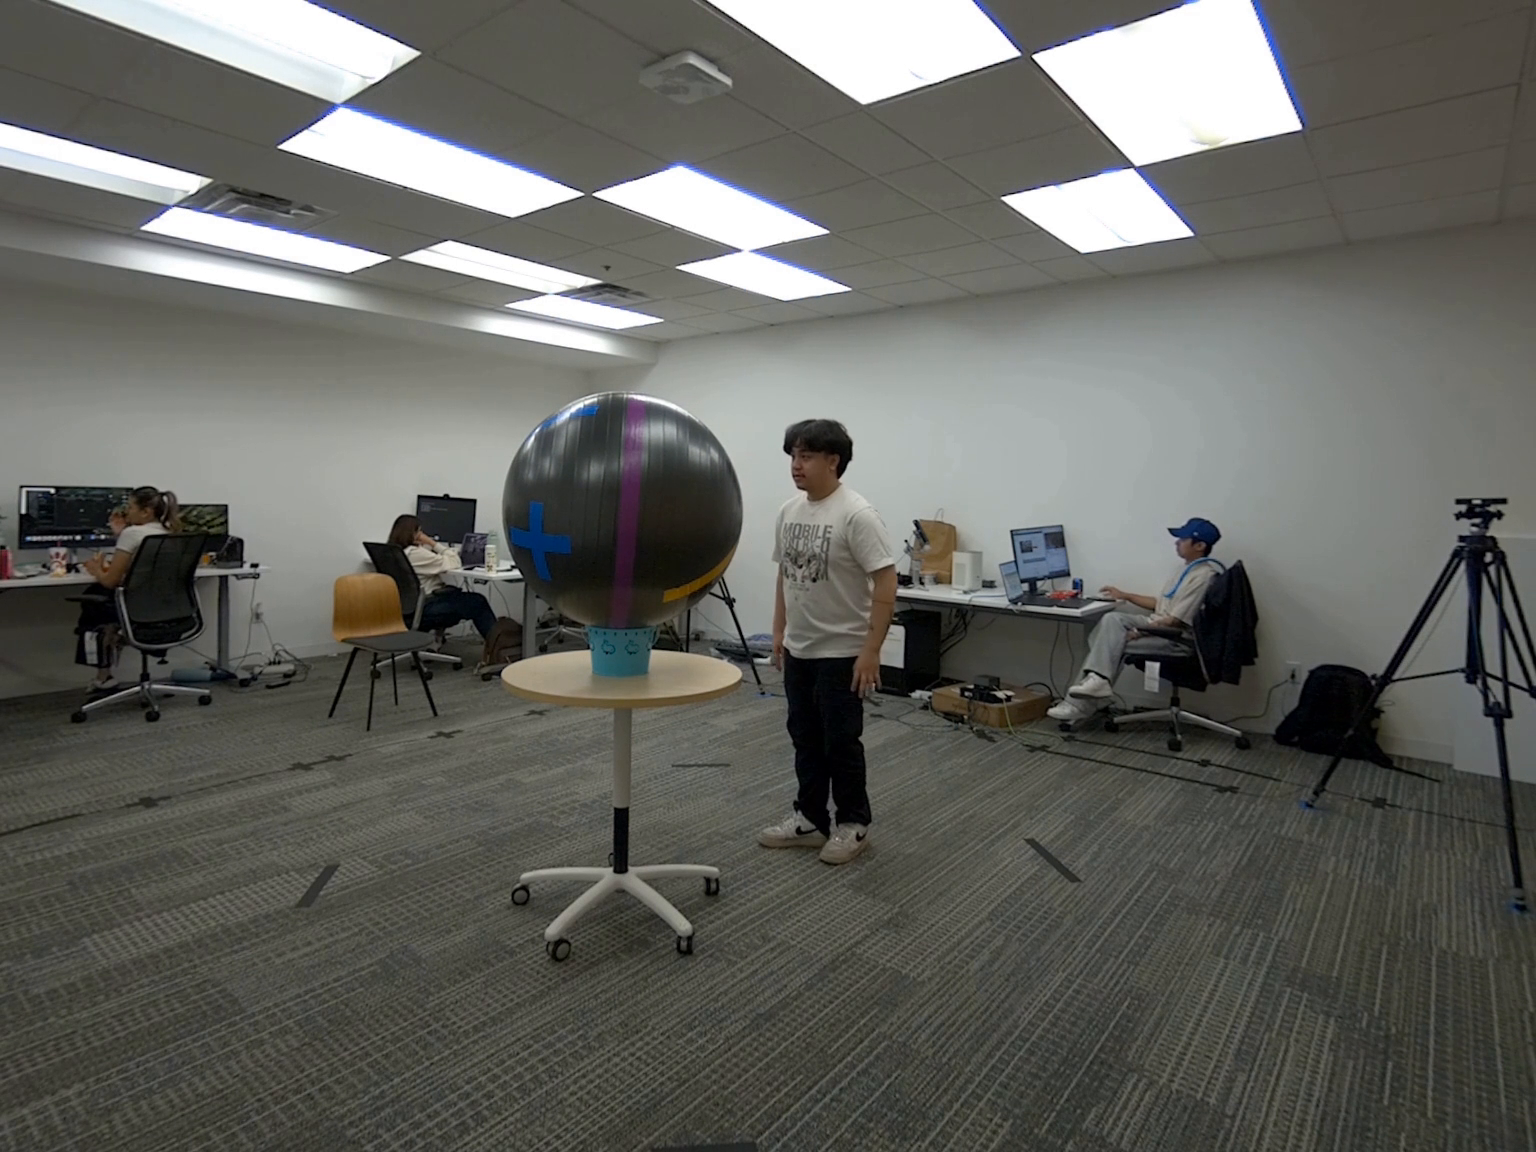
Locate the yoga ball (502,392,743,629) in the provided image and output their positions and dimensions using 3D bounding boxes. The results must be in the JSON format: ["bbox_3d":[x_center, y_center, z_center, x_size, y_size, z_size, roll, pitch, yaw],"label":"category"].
[{"bbox_3d":[-0.470,-0.205,2.725,0.757,0.756,0.761,1,4,-2],"label":"yoga ball"}]
